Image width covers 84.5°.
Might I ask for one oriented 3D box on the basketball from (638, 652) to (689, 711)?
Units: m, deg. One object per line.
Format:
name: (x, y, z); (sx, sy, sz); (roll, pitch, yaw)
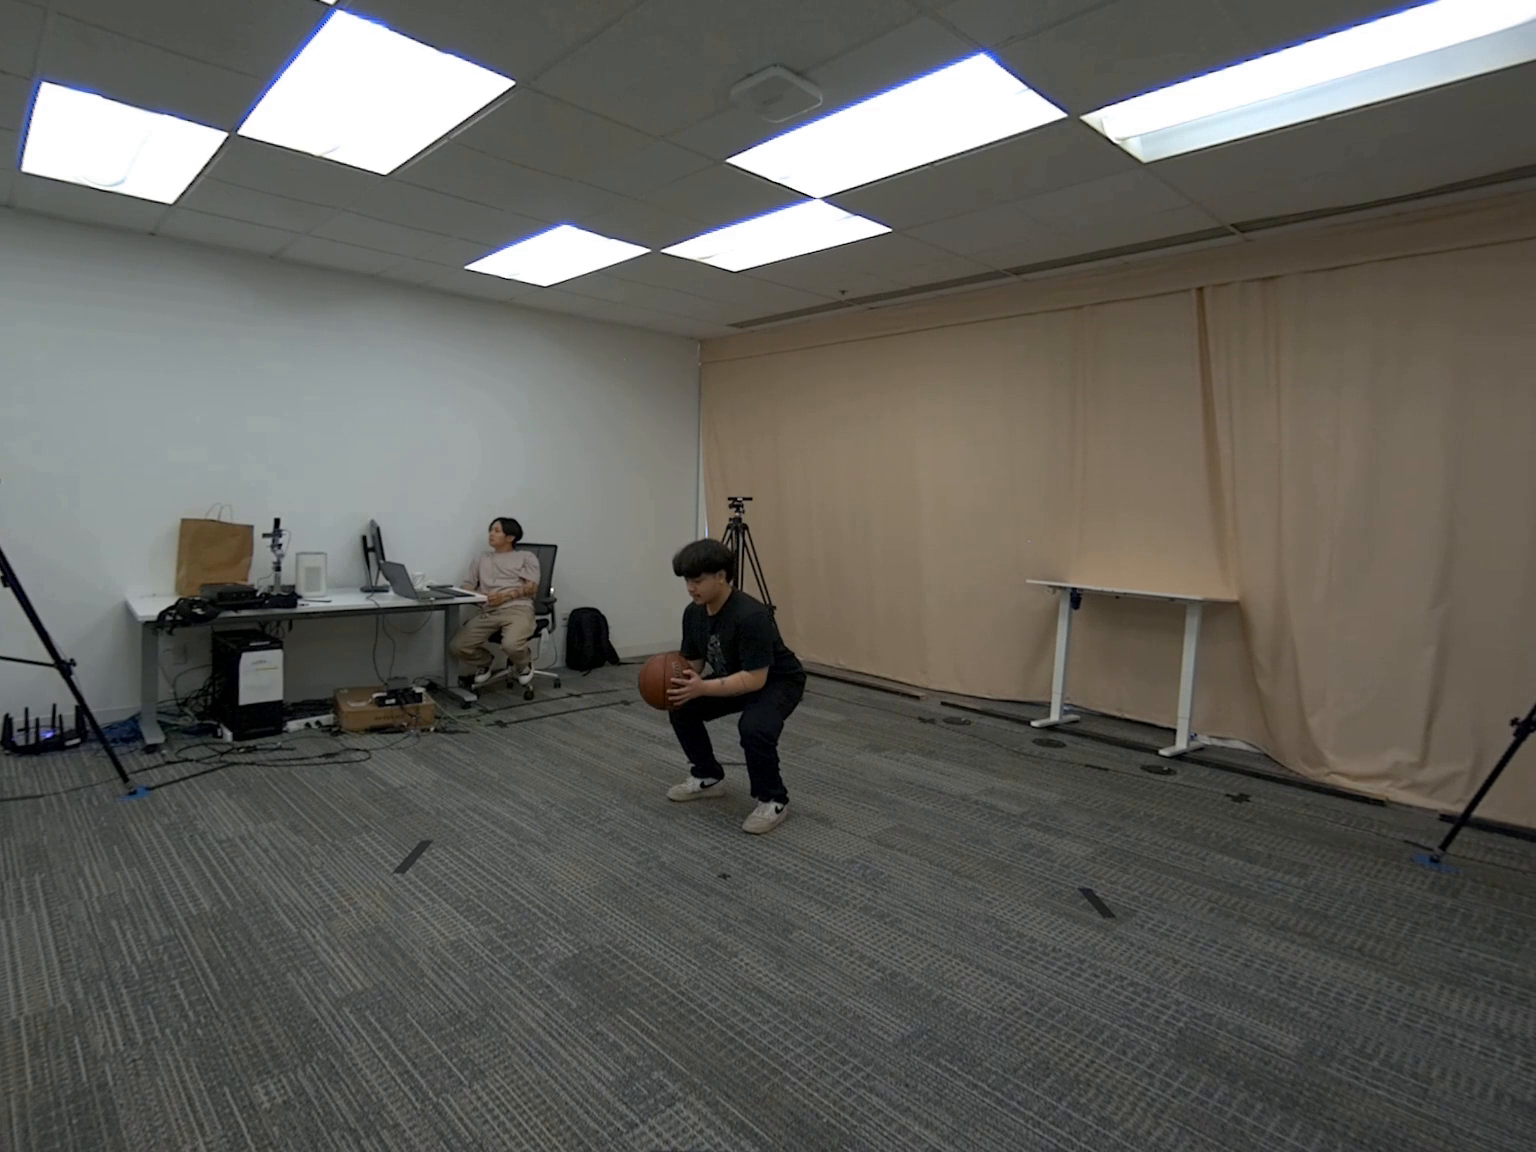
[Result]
basketball: (-0.438, 0.437, 3.493); (0.236, 0.235, 0.237); (1, 4, -1)
